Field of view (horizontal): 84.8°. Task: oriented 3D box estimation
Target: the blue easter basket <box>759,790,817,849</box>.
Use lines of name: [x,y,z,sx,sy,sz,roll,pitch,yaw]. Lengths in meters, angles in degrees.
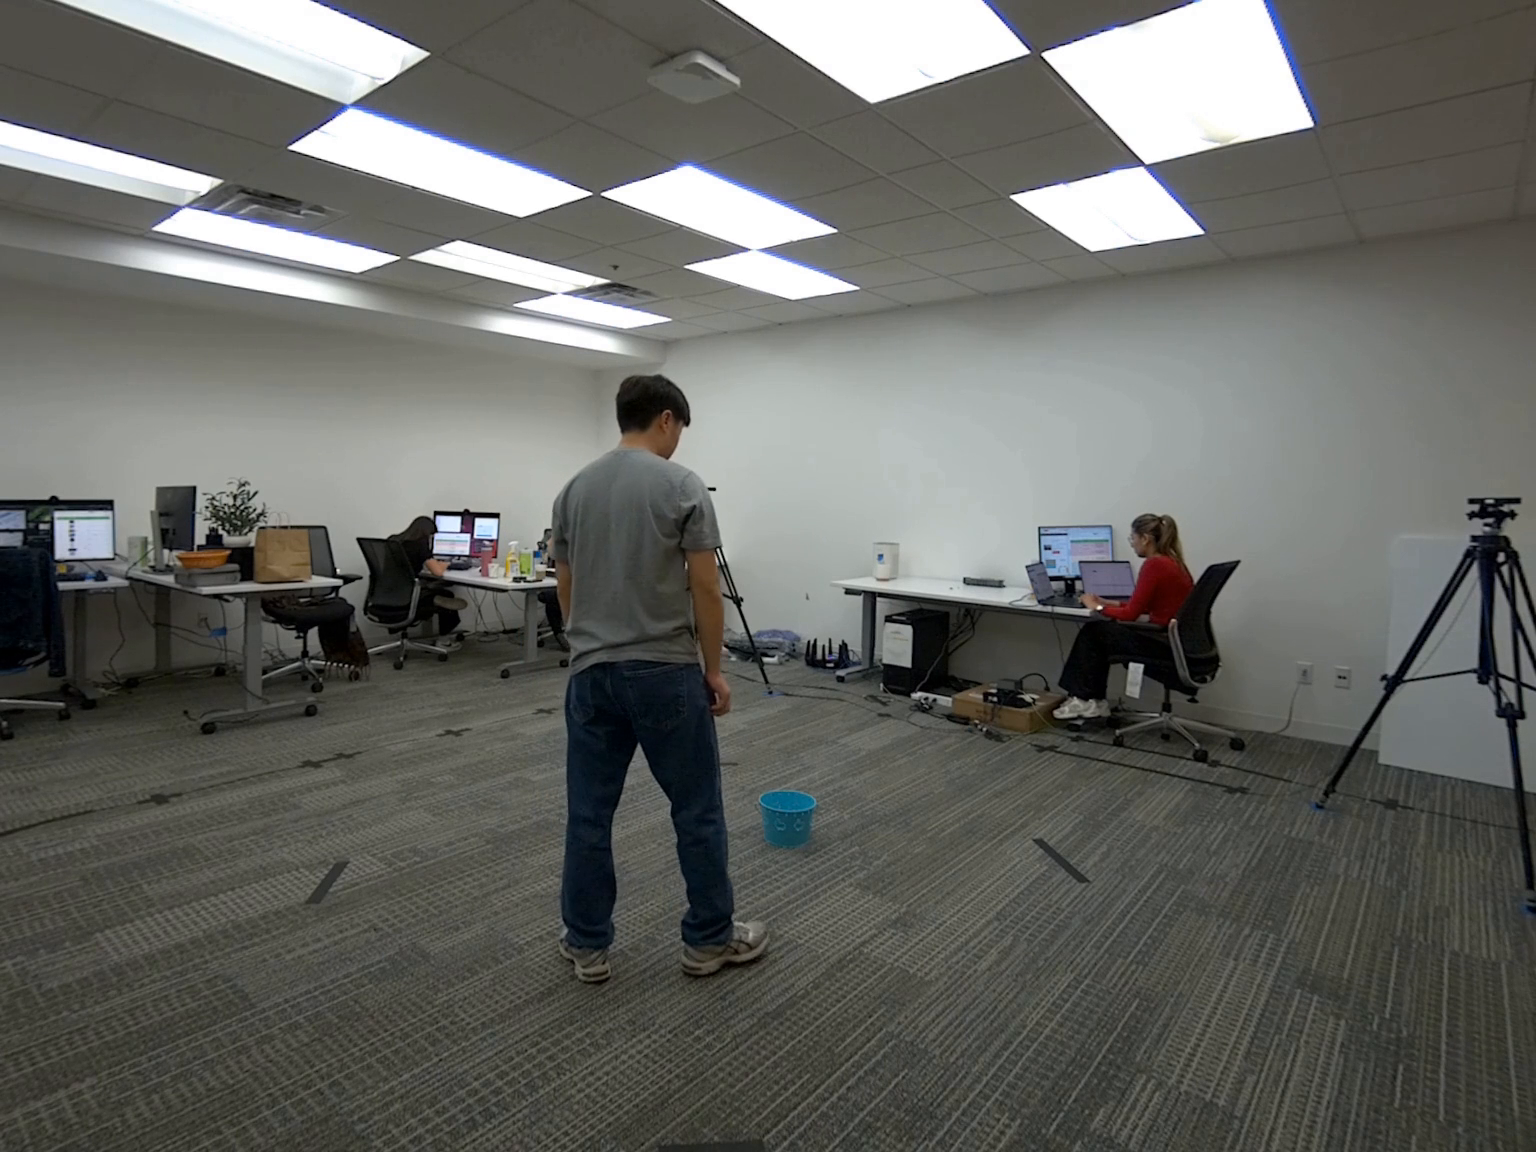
blue easter basket: [0.071,0.965,3.398,0.243,0.155,0.245,0,5,-2]
